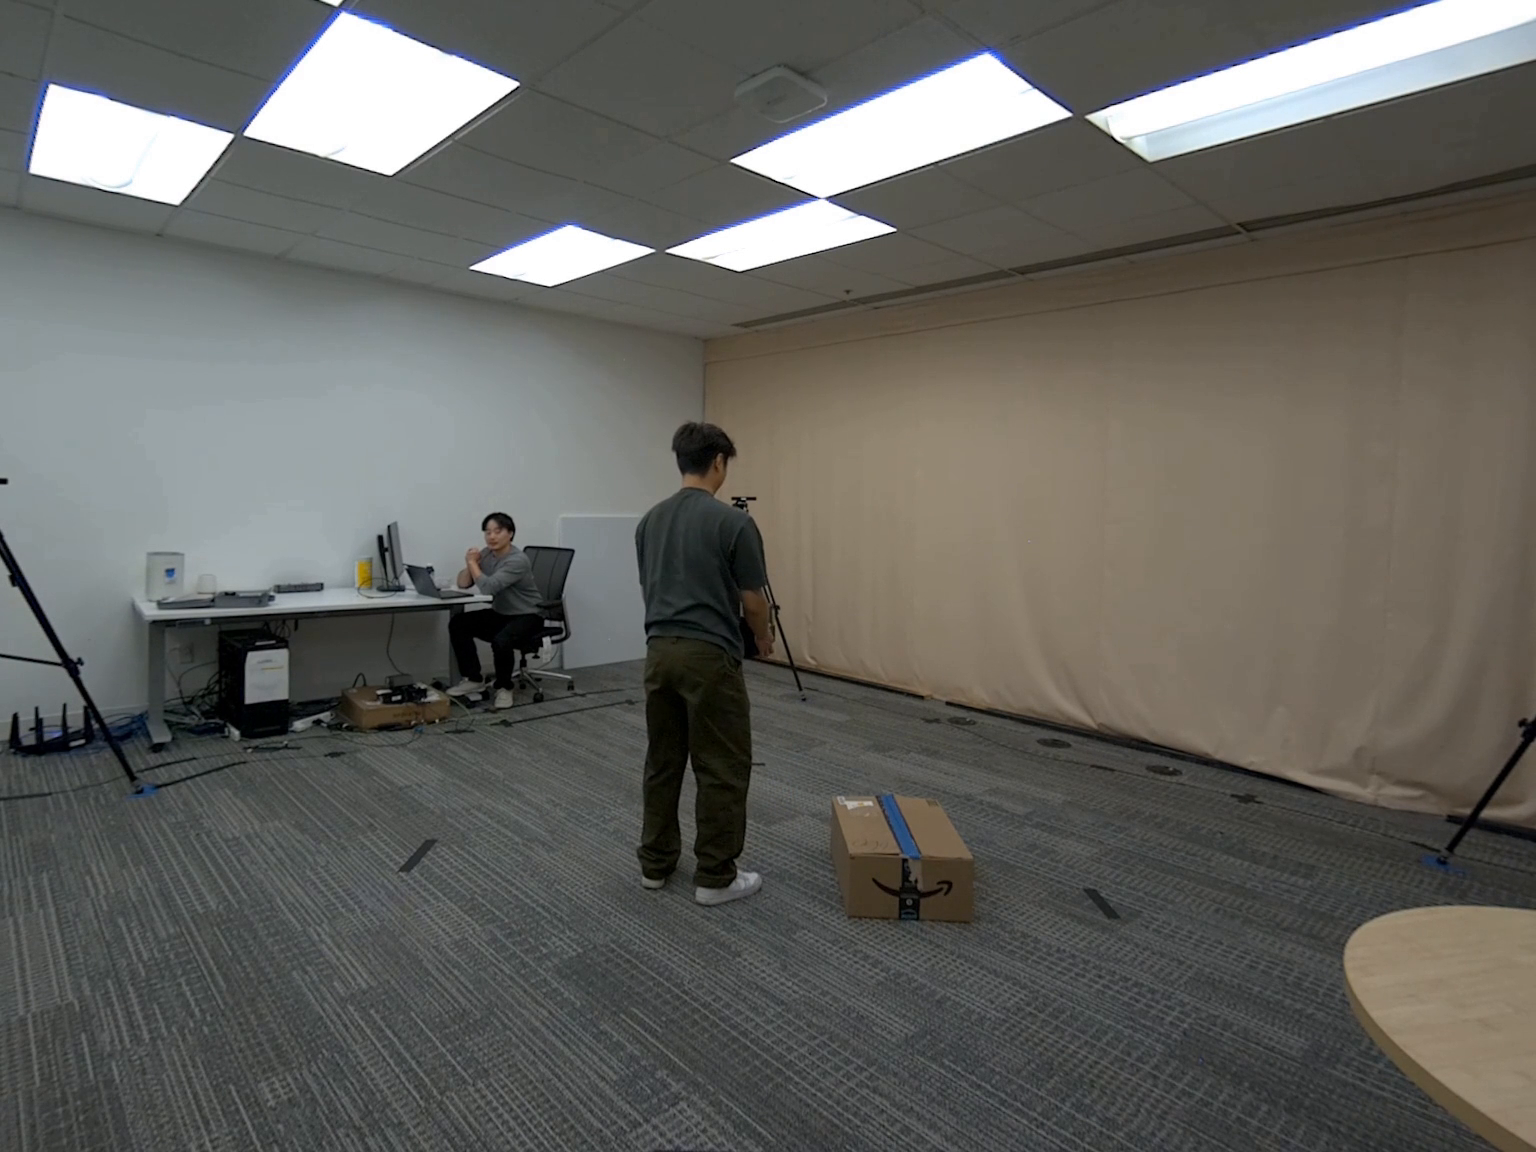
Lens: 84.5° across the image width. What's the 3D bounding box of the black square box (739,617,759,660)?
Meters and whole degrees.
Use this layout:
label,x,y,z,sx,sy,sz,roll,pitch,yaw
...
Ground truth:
label,x,y,z,sx,sy,sz,roll,pitch,yaw
black square box,-0.114,0.202,3.277,0.232,0.154,0.215,2,12,22
